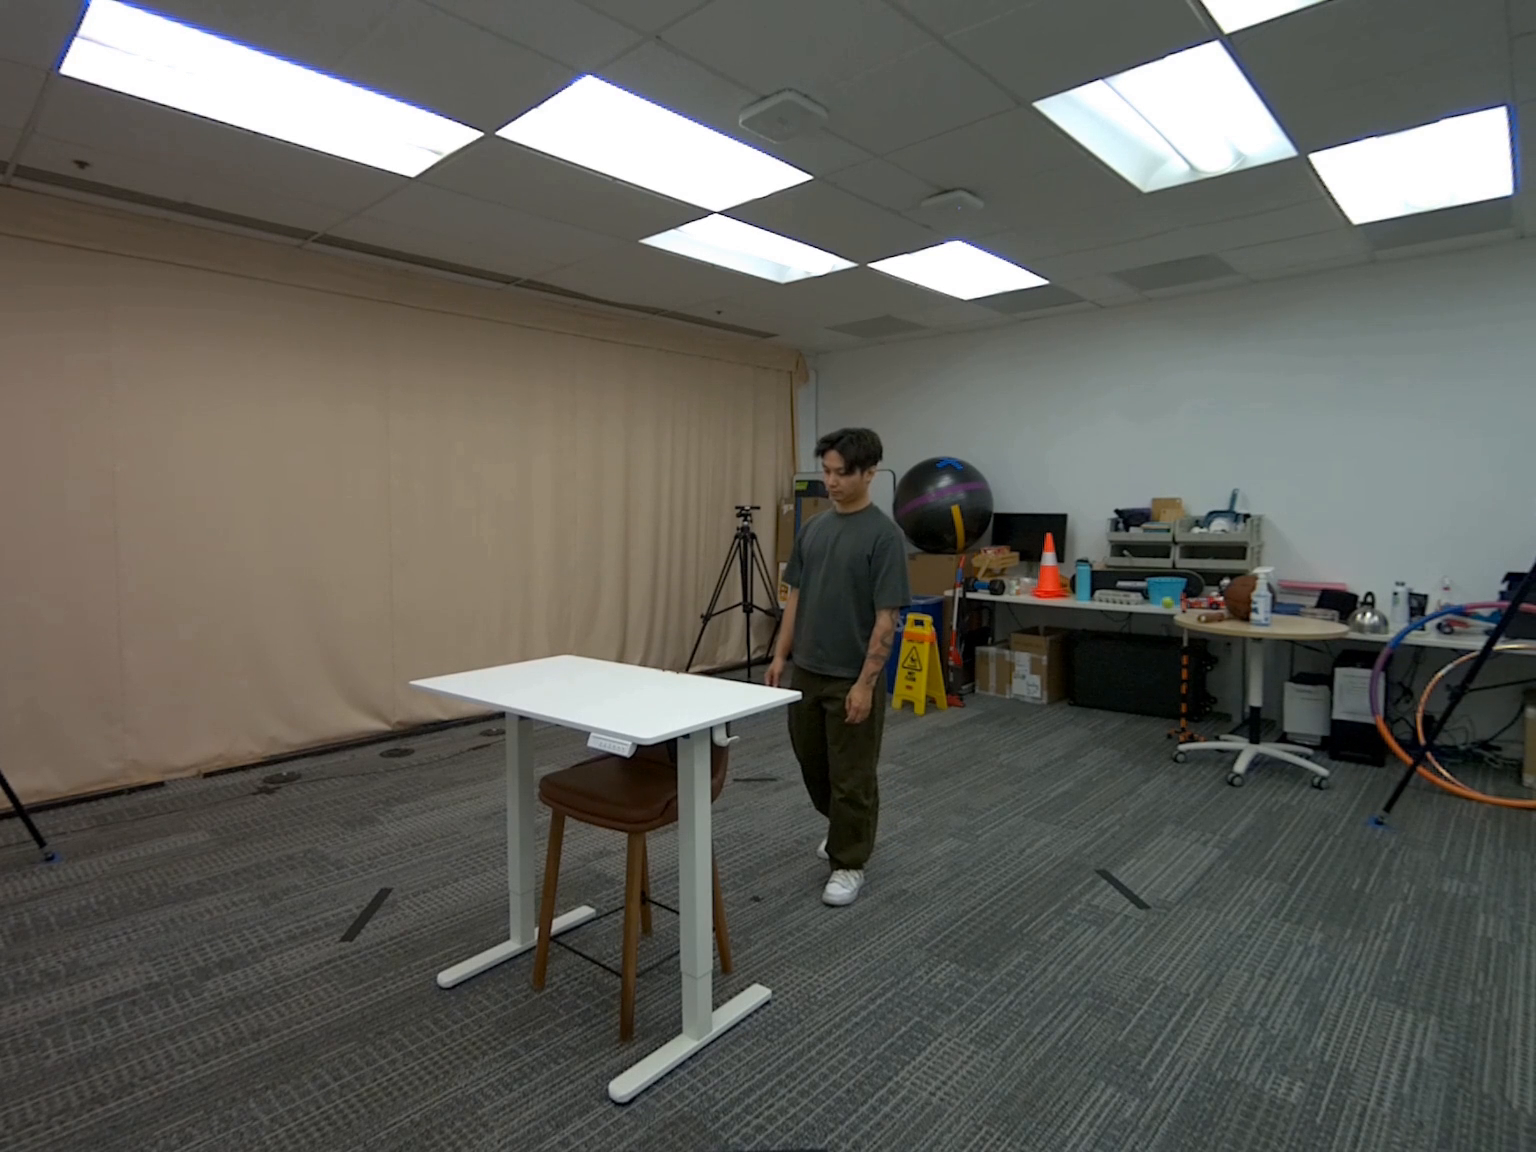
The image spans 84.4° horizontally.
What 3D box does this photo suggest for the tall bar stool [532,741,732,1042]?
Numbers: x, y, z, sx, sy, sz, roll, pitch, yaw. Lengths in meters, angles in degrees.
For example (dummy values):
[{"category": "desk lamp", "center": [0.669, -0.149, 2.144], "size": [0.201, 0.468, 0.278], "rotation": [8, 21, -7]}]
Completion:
[{"category": "tall bar stool", "center": [-0.382, 0.756, 2.457], "size": [0.471, 0.889, 0.453], "rotation": [3, 2, 40]}]
